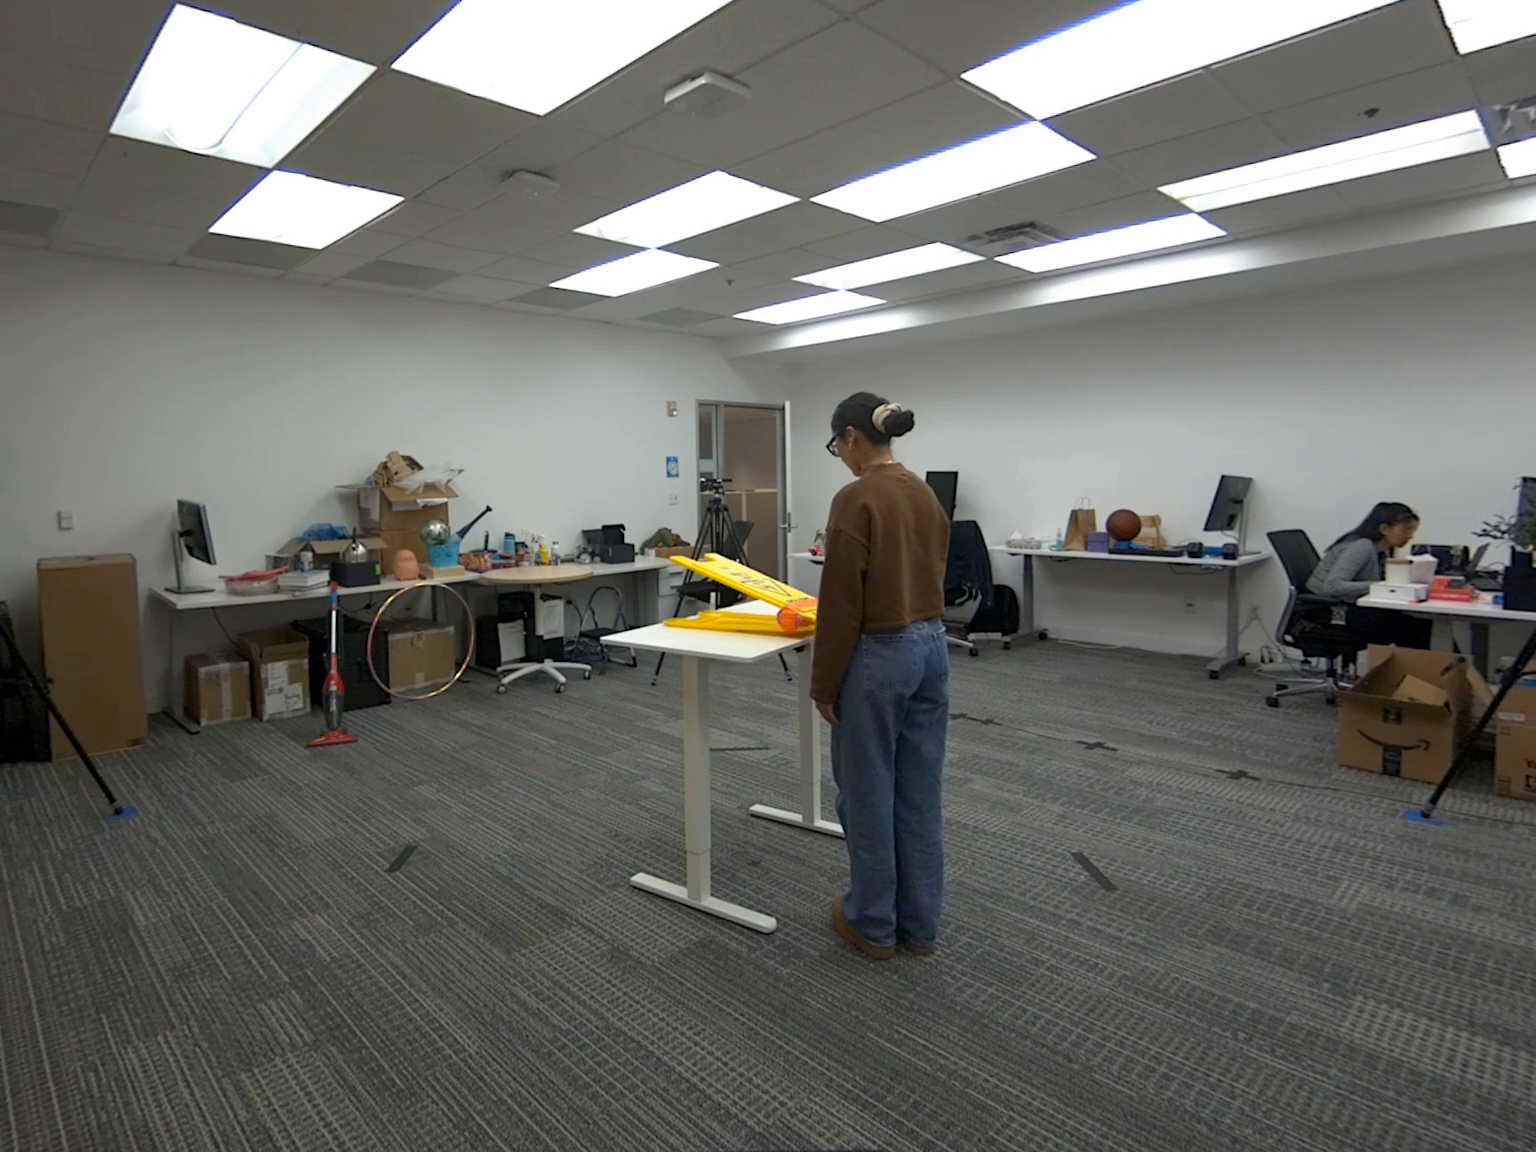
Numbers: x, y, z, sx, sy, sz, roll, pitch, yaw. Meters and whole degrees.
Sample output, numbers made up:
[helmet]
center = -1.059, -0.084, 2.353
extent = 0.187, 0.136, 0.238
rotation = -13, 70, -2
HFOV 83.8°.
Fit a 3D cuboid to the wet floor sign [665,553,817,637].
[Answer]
[wet floor sign]
center = -0.014, 0.101, 2.943
extent = 0.666, 0.288, 0.275
rotation = 10, 9, 33
